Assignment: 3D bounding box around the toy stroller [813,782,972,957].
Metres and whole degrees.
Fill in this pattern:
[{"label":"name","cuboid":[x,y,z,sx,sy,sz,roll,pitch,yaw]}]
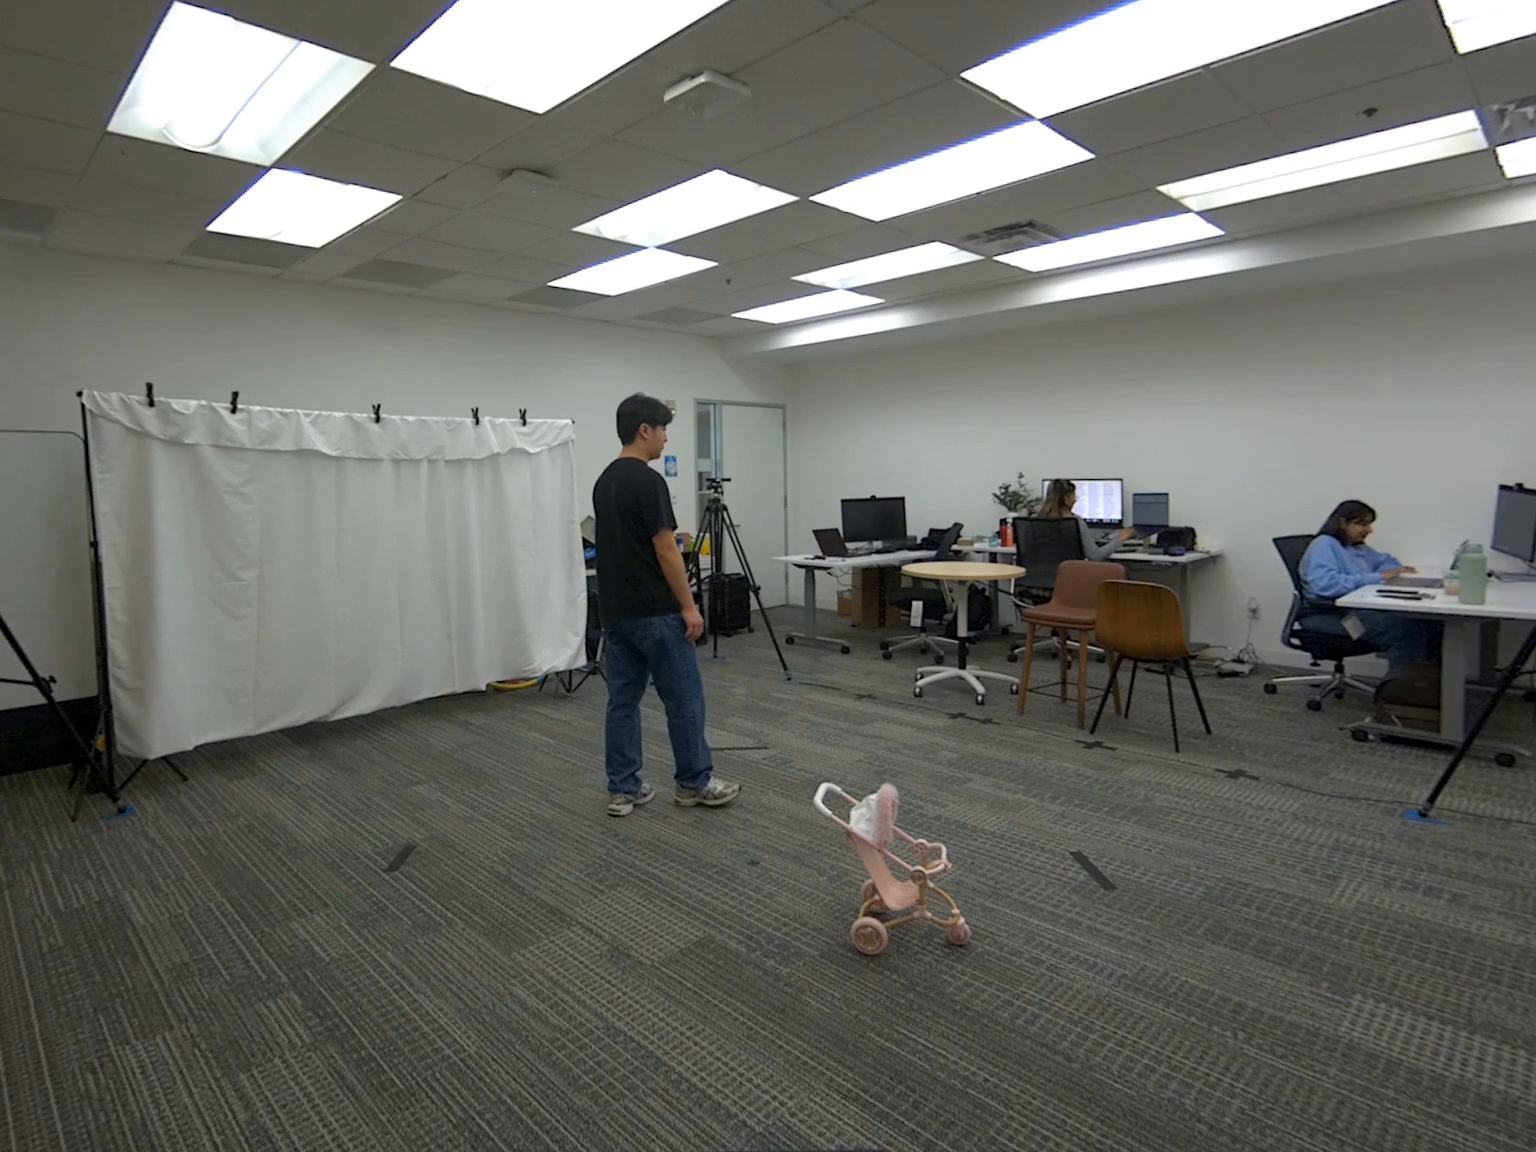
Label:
[{"label":"toy stroller","cuboid":[0.387,0.873,2.582,0.346,0.536,0.277,-17,-1,20]}]
